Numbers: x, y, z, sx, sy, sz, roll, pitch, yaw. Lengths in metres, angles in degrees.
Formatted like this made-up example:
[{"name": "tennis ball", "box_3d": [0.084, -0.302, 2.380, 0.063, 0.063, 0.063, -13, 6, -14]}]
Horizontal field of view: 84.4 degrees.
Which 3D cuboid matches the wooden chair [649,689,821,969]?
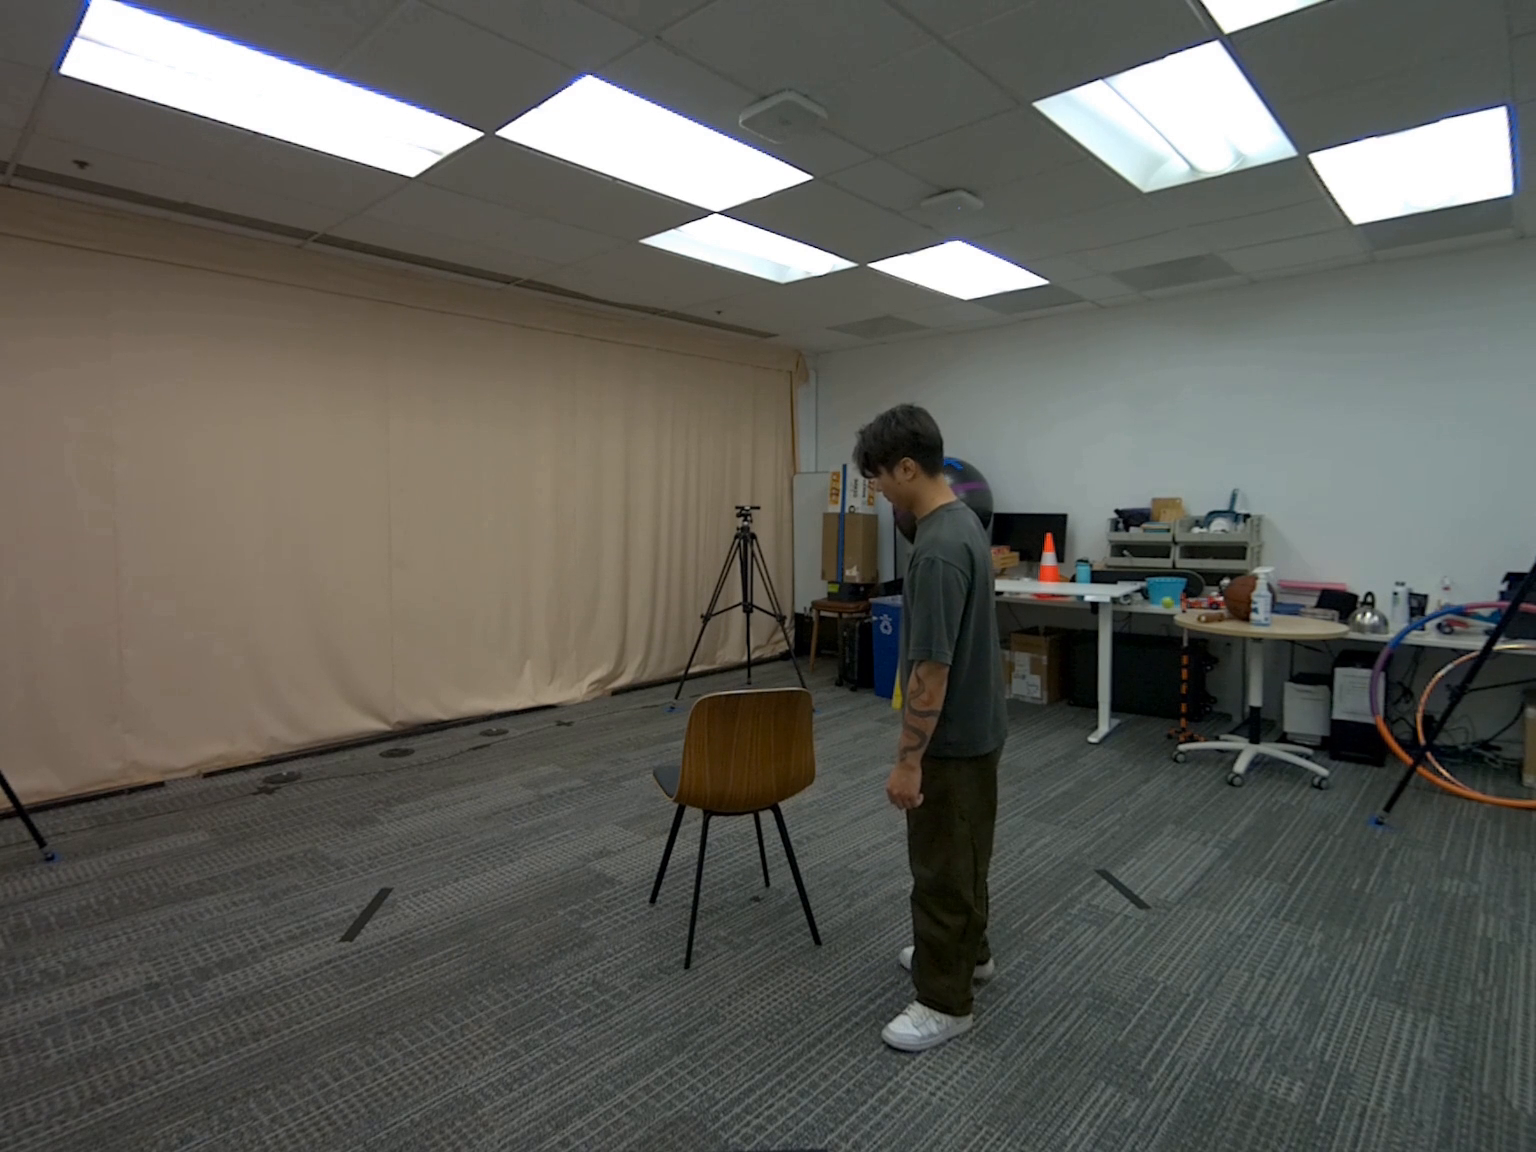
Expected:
[{"name": "wooden chair", "box_3d": [-0.124, 0.733, 2.788, 0.469, 0.873, 0.536, -2, 8, -20]}]
